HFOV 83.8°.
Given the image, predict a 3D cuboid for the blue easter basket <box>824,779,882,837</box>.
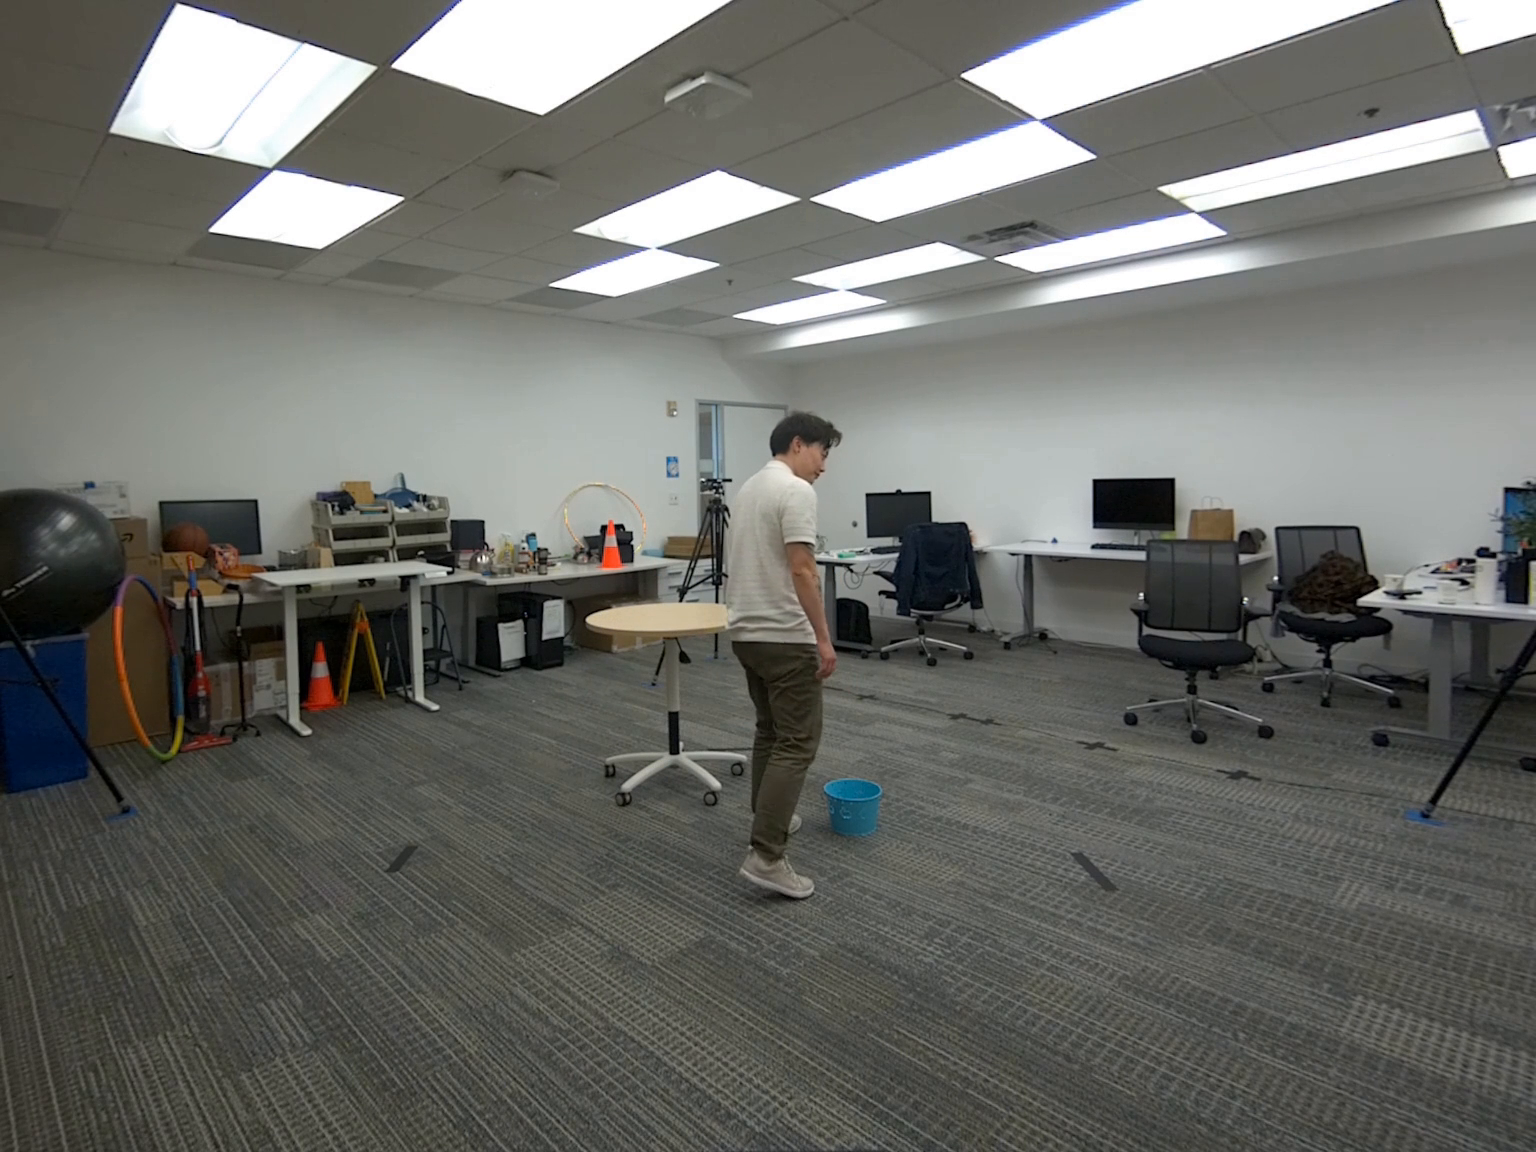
[{"bbox_3d":[0.340,0.920,3.425,0.243,0.155,0.245,-1,5,-2],"label":"blue easter basket"}]
